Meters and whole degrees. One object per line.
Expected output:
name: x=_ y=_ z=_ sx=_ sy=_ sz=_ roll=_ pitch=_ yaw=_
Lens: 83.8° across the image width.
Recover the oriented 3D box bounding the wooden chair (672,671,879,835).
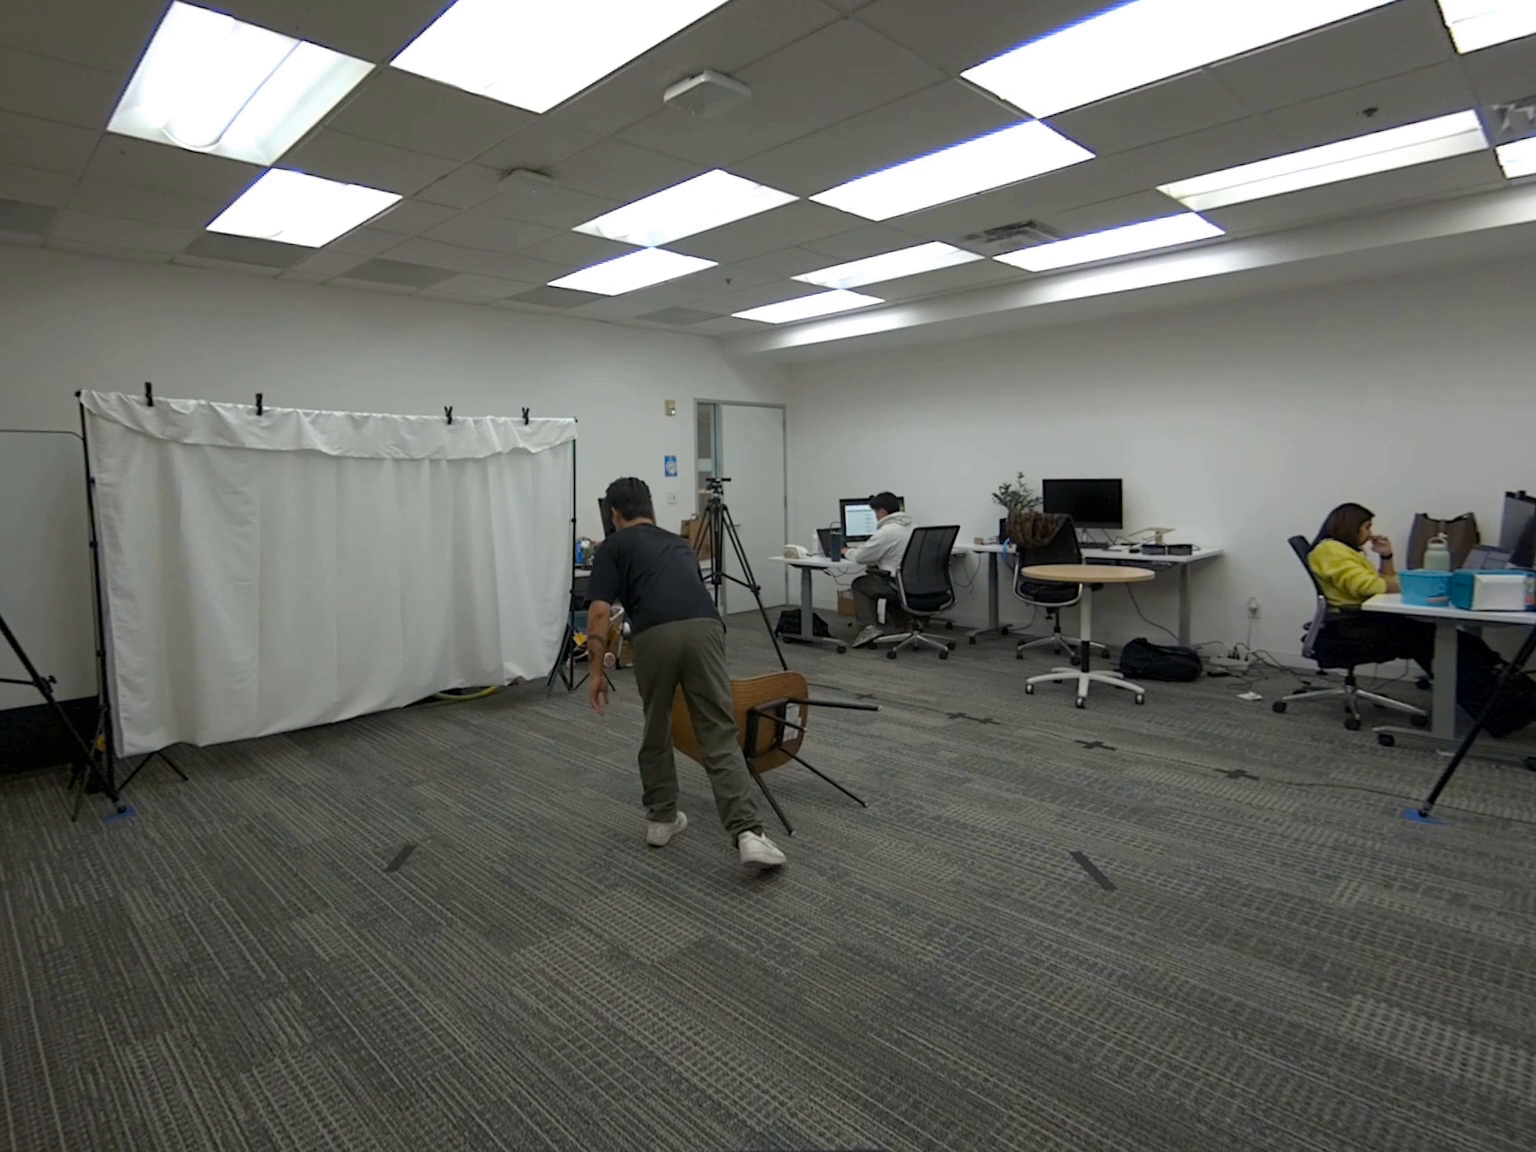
wooden chair: x=-0.001 y=0.678 z=3.753 sx=0.909 sy=0.473 sz=0.510 roll=16 pitch=17 yaw=42
